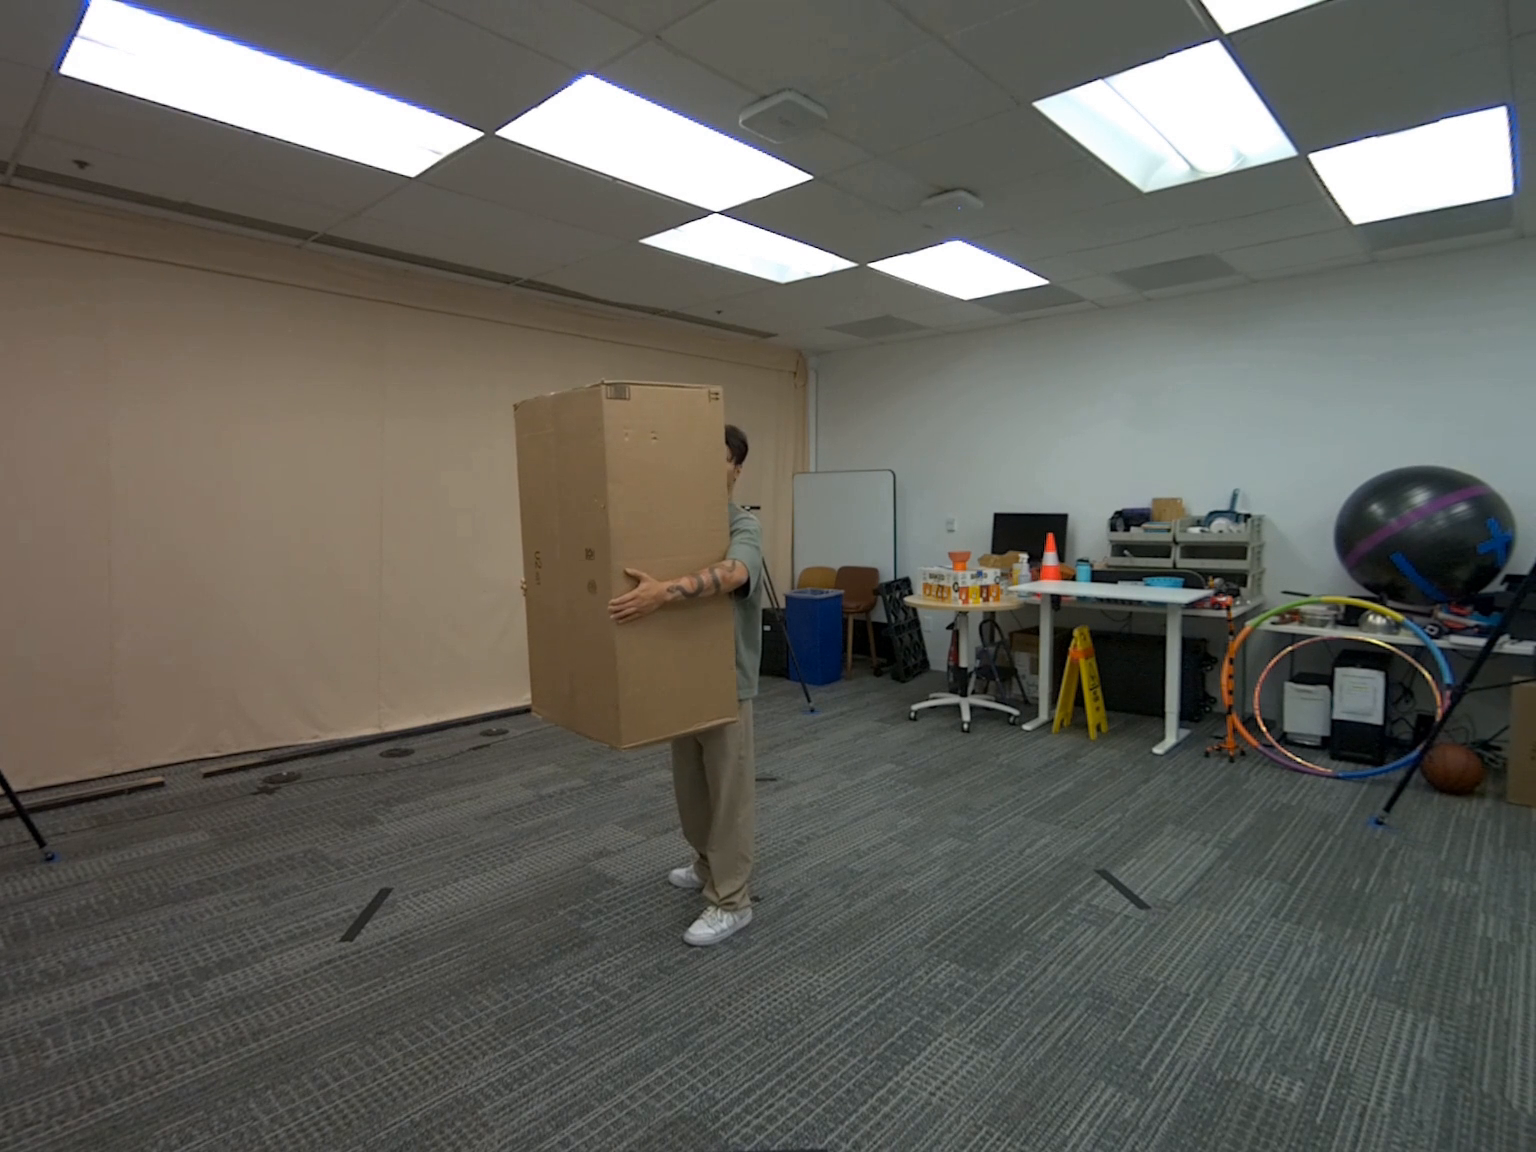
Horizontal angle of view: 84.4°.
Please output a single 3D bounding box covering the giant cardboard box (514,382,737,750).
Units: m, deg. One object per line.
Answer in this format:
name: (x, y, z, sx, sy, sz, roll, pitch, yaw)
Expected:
giant cardboard box: (-0.457, -0.058, 2.651, 0.414, 1.023, 0.596, -5, 5, -38)
